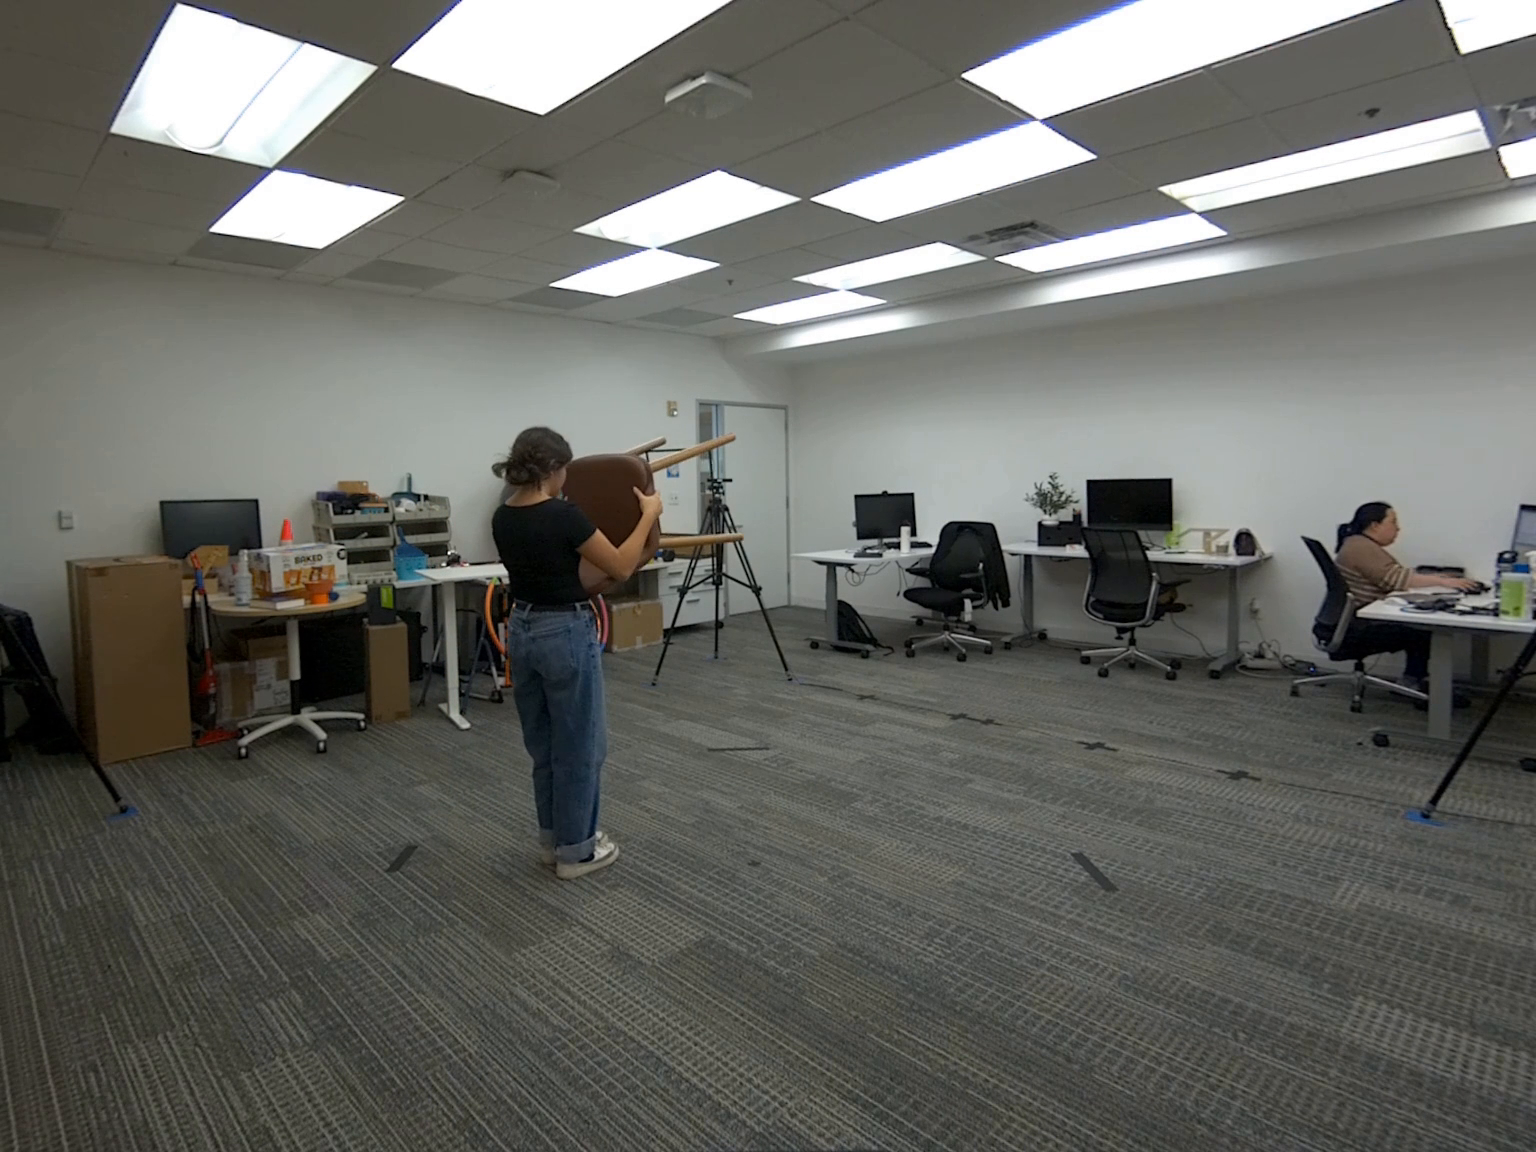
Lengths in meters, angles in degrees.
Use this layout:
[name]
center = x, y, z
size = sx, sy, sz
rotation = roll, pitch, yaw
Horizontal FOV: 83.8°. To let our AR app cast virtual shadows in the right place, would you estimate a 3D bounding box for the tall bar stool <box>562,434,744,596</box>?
[tall bar stool]
center = -0.518, -0.258, 3.325
size = 0.470, 0.461, 0.876
rotation = 3, 18, 36
